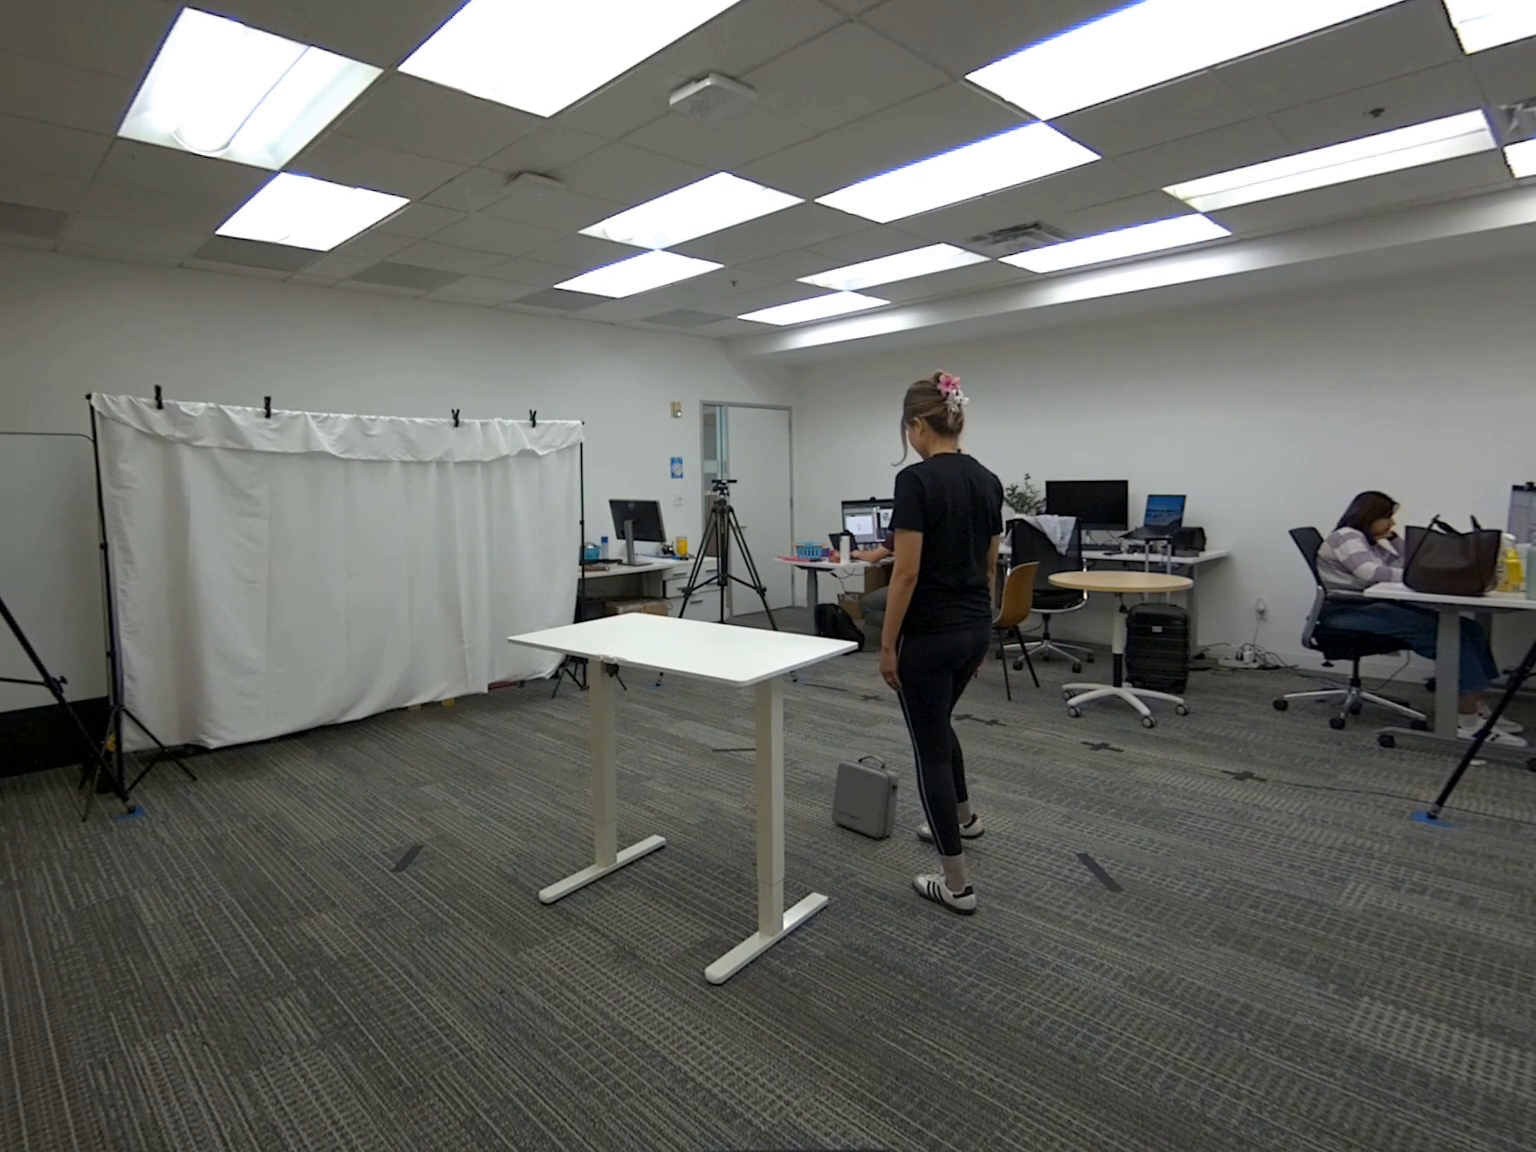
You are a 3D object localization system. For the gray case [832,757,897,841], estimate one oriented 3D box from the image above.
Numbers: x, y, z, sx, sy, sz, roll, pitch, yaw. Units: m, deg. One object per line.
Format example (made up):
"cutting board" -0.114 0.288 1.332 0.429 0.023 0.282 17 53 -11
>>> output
"gray case" 0.389 0.877 3.396 0.101 0.261 0.265 9 -3 -41
